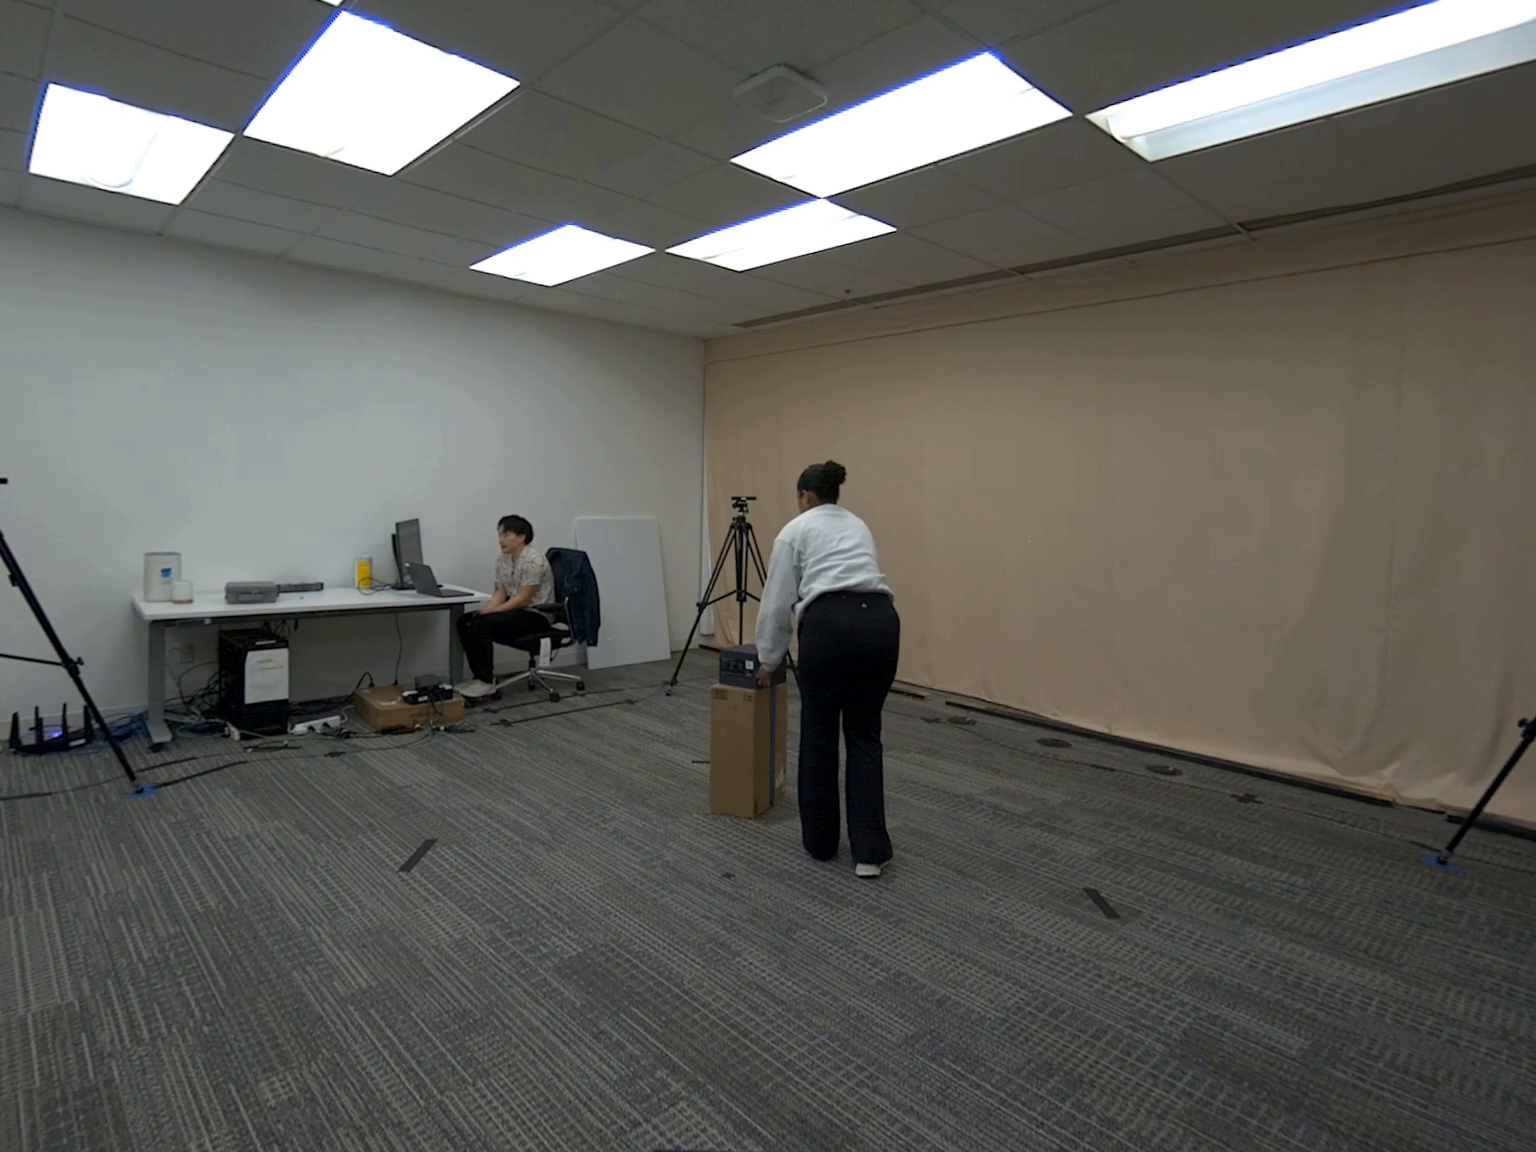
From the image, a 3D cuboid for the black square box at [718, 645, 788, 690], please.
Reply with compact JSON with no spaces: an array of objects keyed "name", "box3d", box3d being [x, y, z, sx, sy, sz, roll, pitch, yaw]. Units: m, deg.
[{"name":"black square box","box3d":[-0.077,0.399,3.787,0.222,0.155,0.223,4,4,36]}]
